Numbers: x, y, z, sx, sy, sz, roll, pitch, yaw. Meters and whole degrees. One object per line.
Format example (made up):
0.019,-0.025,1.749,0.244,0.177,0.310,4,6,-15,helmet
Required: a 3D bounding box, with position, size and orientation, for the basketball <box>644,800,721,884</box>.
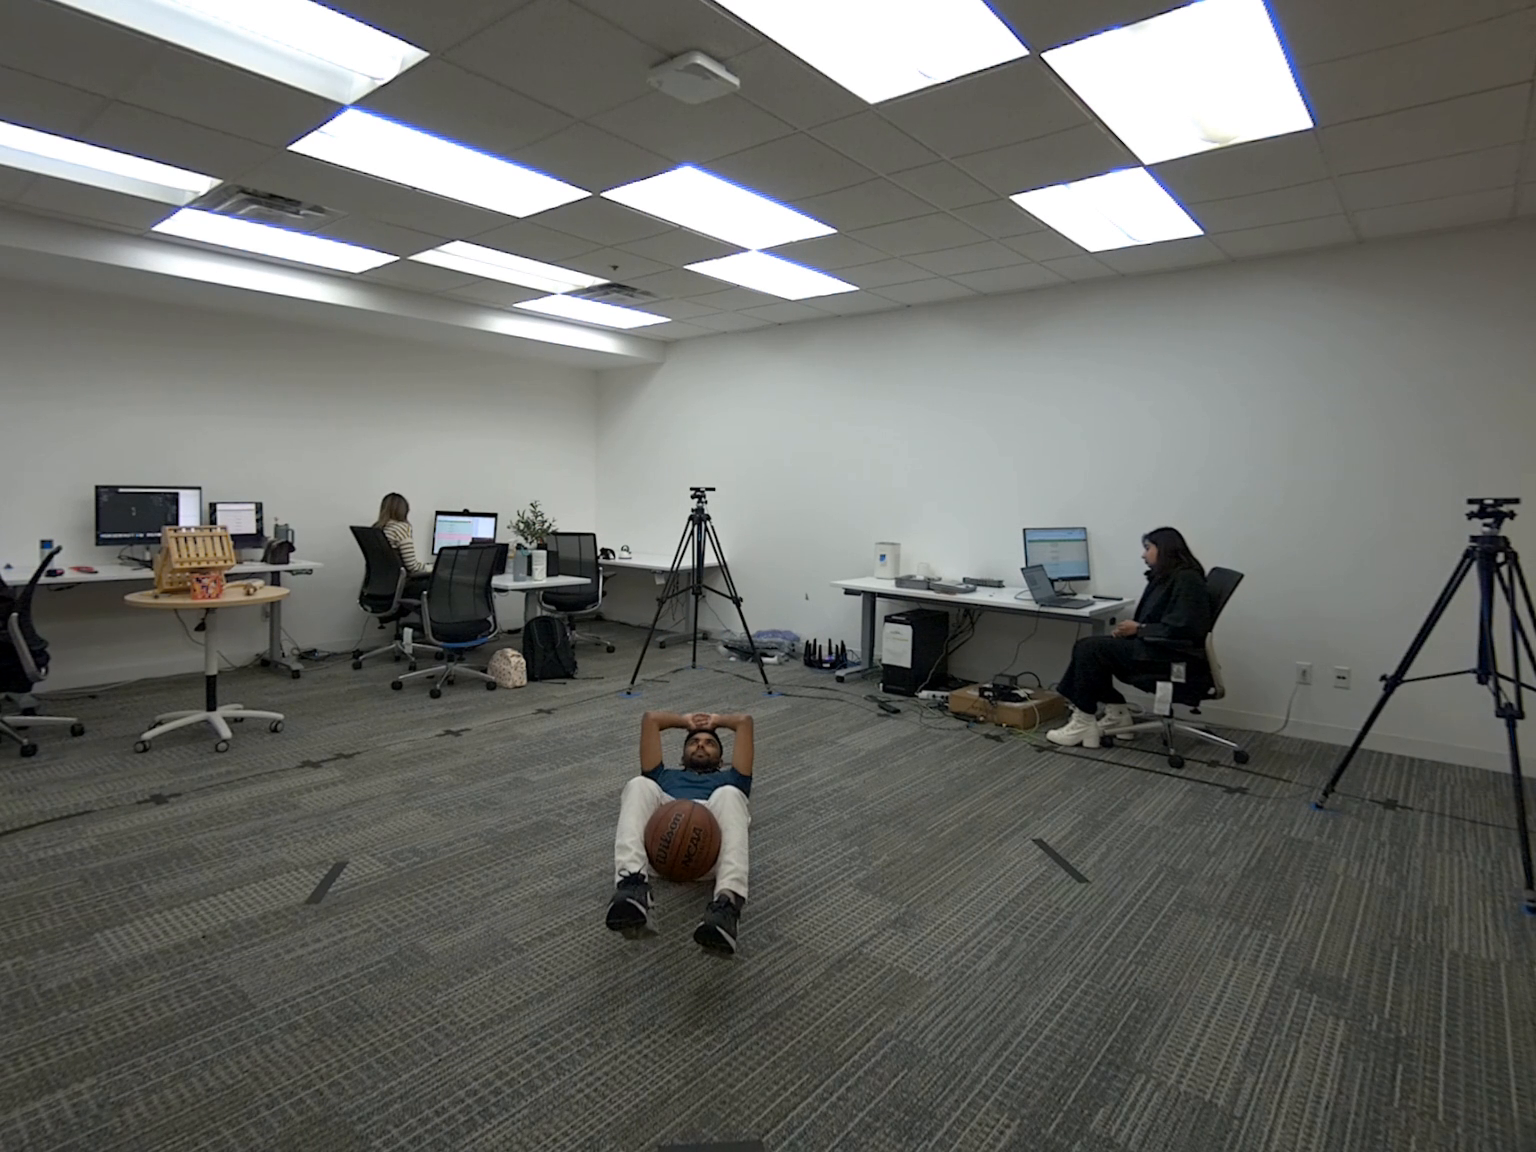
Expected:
-0.268,0.802,2.591,0.235,0.235,0.237,1,4,-2,basketball
